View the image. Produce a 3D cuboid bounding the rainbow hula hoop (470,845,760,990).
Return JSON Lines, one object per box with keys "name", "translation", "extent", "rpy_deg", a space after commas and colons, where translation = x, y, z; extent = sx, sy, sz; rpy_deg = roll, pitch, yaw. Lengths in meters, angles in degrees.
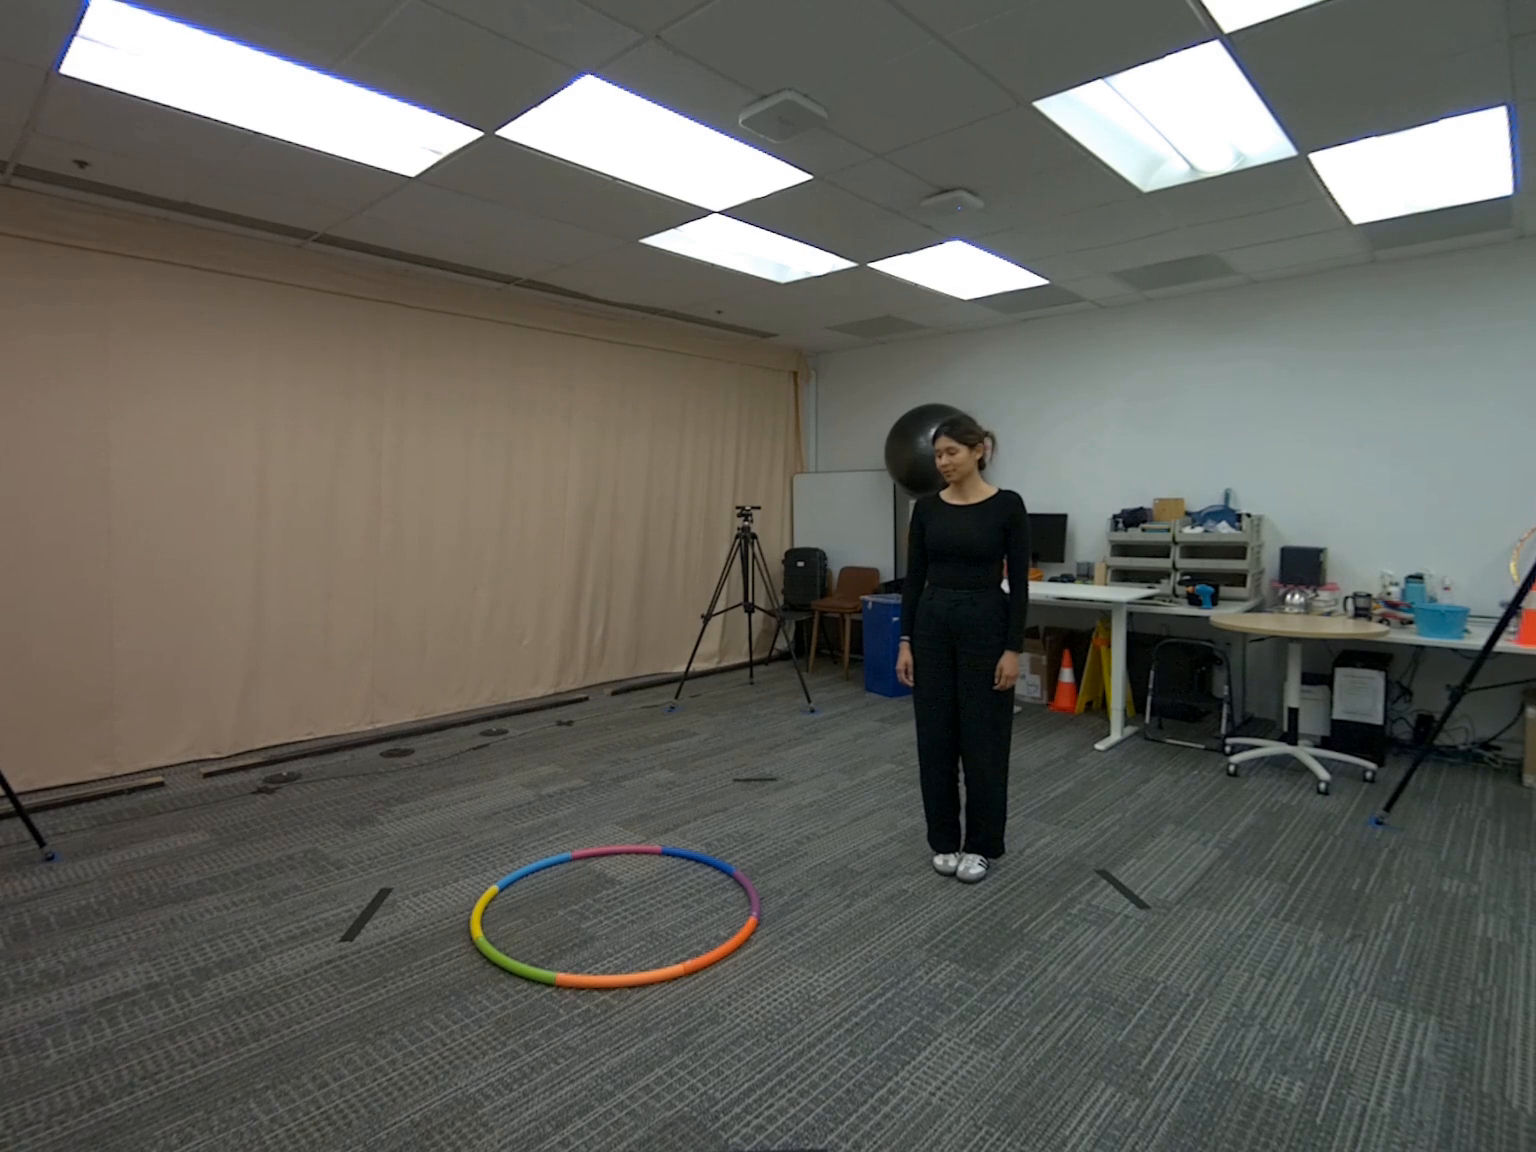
{"name": "rainbow hula hoop", "translation": [-0.513, 1.123, 2.913], "extent": [0.978, 0.035, 0.982], "rpy_deg": [0, 4, -2]}
